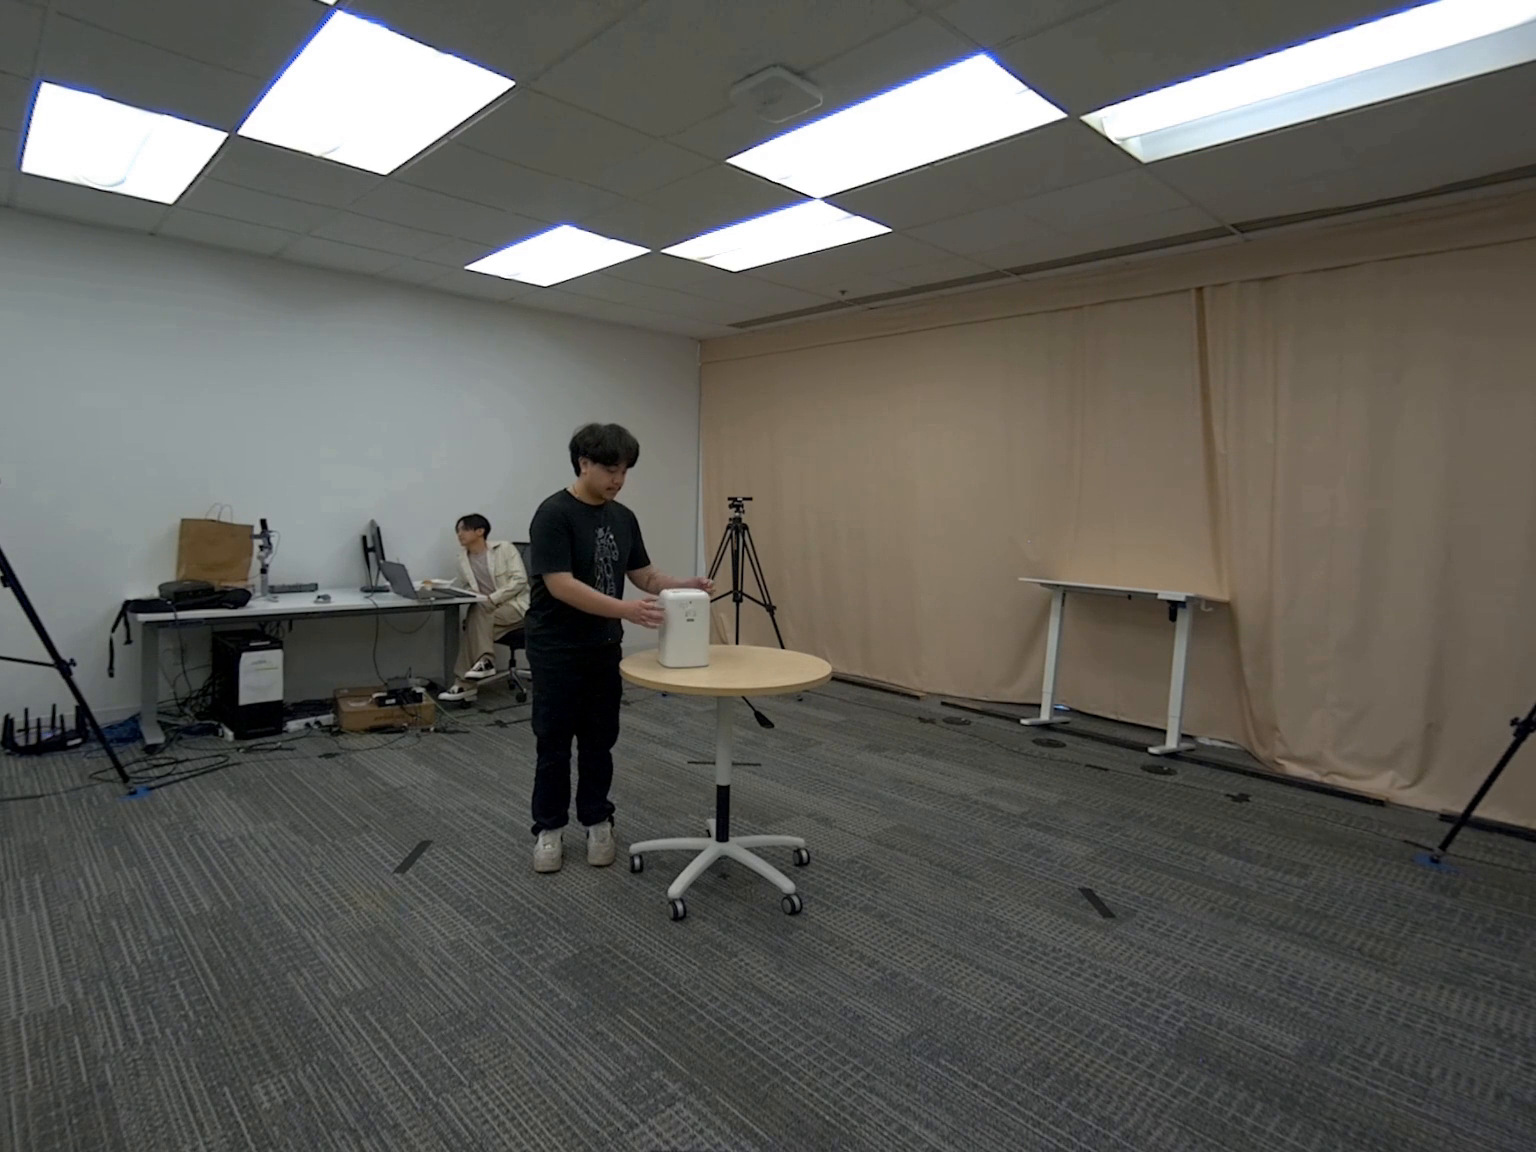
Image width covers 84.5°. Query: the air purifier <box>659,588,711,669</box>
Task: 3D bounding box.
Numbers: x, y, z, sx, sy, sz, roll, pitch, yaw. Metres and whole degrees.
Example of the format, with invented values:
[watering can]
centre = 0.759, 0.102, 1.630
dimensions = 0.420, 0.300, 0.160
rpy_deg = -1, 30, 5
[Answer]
[air purifier]
centre = -0.310, 0.184, 3.031
dimensions = 0.169, 0.265, 0.174
rpy_deg = 0, 2, -16
